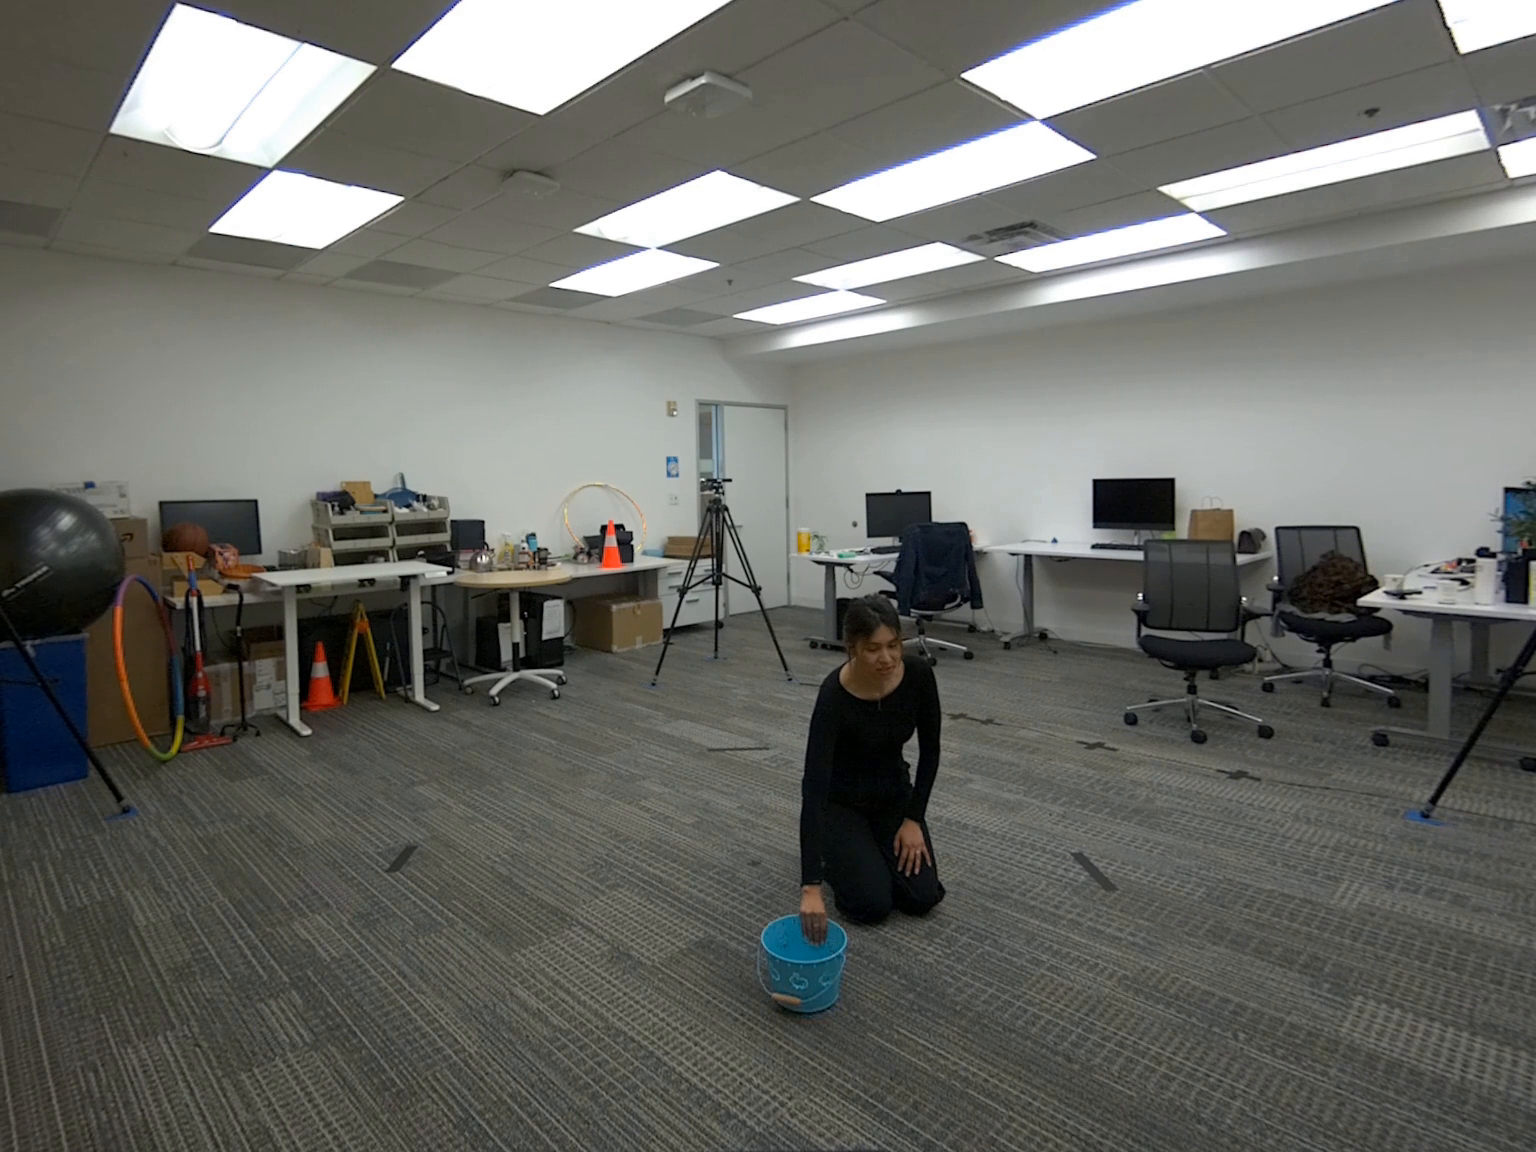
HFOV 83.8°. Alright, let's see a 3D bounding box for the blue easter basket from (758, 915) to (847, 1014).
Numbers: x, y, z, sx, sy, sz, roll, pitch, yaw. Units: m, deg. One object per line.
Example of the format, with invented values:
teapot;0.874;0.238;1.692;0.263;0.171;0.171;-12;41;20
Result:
blue easter basket;0.103;1.040;2.303;0.243;0.155;0.245;-2;7;-1
